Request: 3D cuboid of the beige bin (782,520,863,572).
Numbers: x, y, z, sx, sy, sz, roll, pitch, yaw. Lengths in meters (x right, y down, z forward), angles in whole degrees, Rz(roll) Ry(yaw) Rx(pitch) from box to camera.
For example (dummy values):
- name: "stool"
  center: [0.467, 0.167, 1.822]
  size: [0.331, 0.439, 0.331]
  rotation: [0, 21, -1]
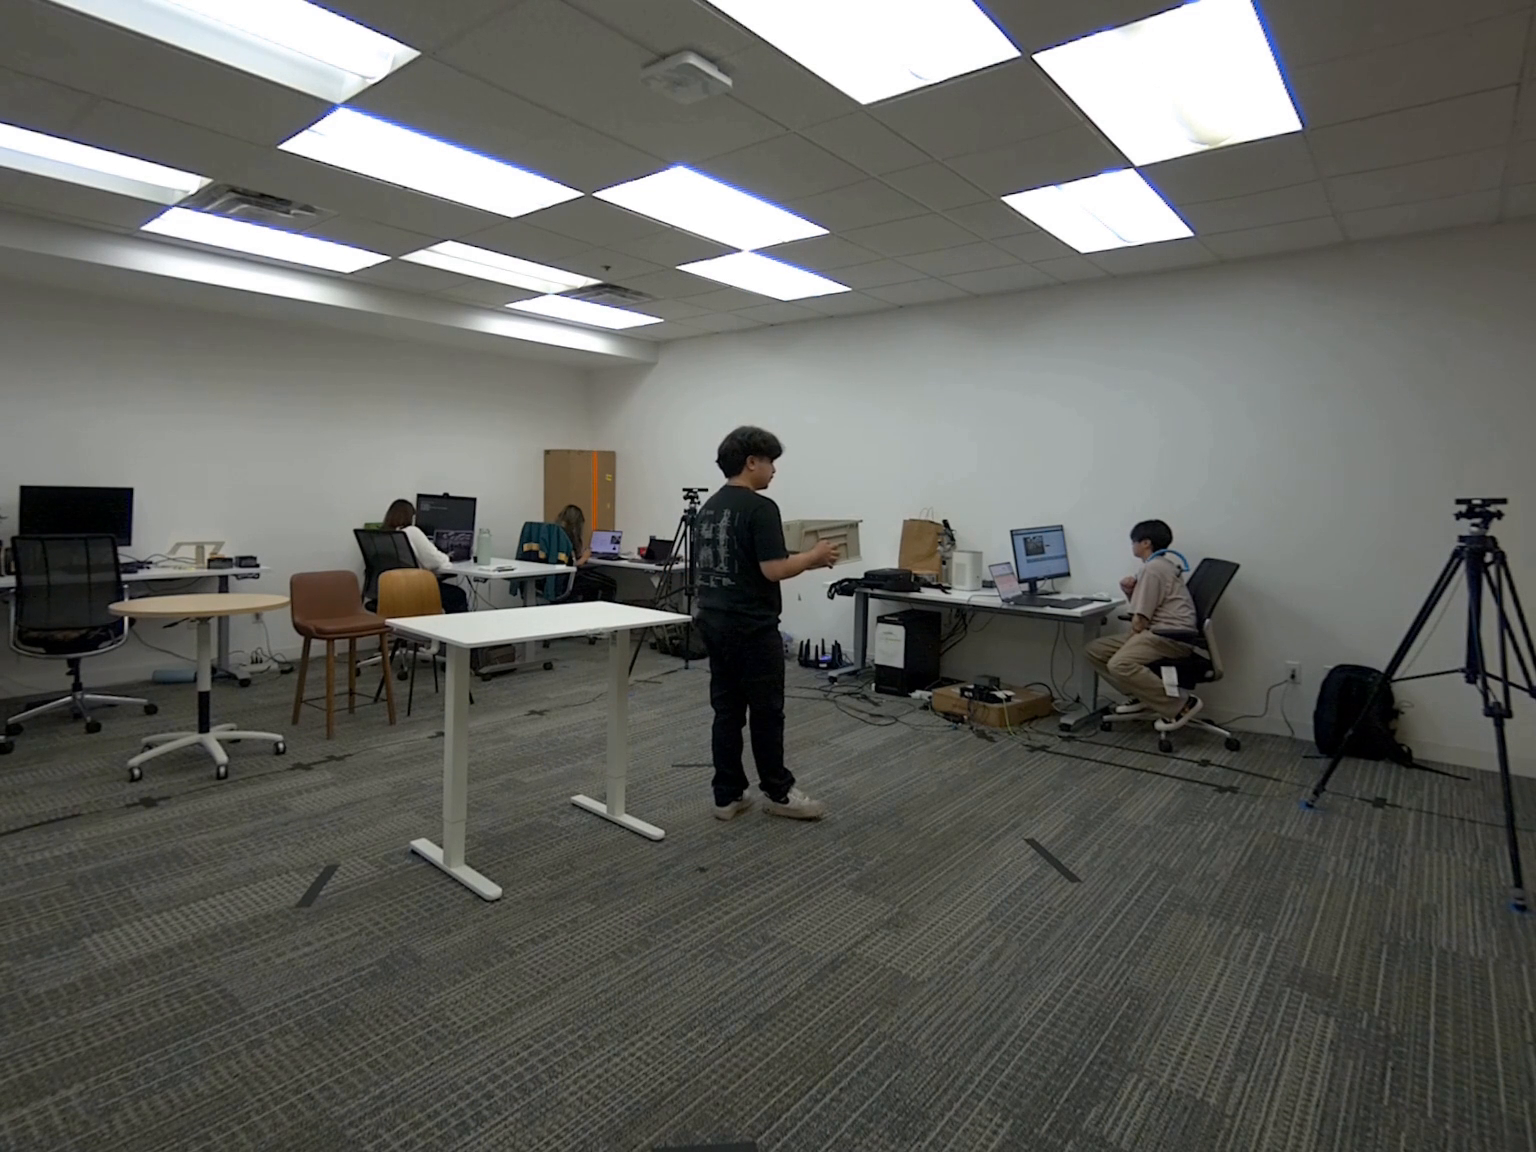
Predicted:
- name: "beige bin"
  center: [0.138, -0.145, 3.827]
  size: [0.367, 0.188, 0.436]
  rotation: [-9, 8, -37]
